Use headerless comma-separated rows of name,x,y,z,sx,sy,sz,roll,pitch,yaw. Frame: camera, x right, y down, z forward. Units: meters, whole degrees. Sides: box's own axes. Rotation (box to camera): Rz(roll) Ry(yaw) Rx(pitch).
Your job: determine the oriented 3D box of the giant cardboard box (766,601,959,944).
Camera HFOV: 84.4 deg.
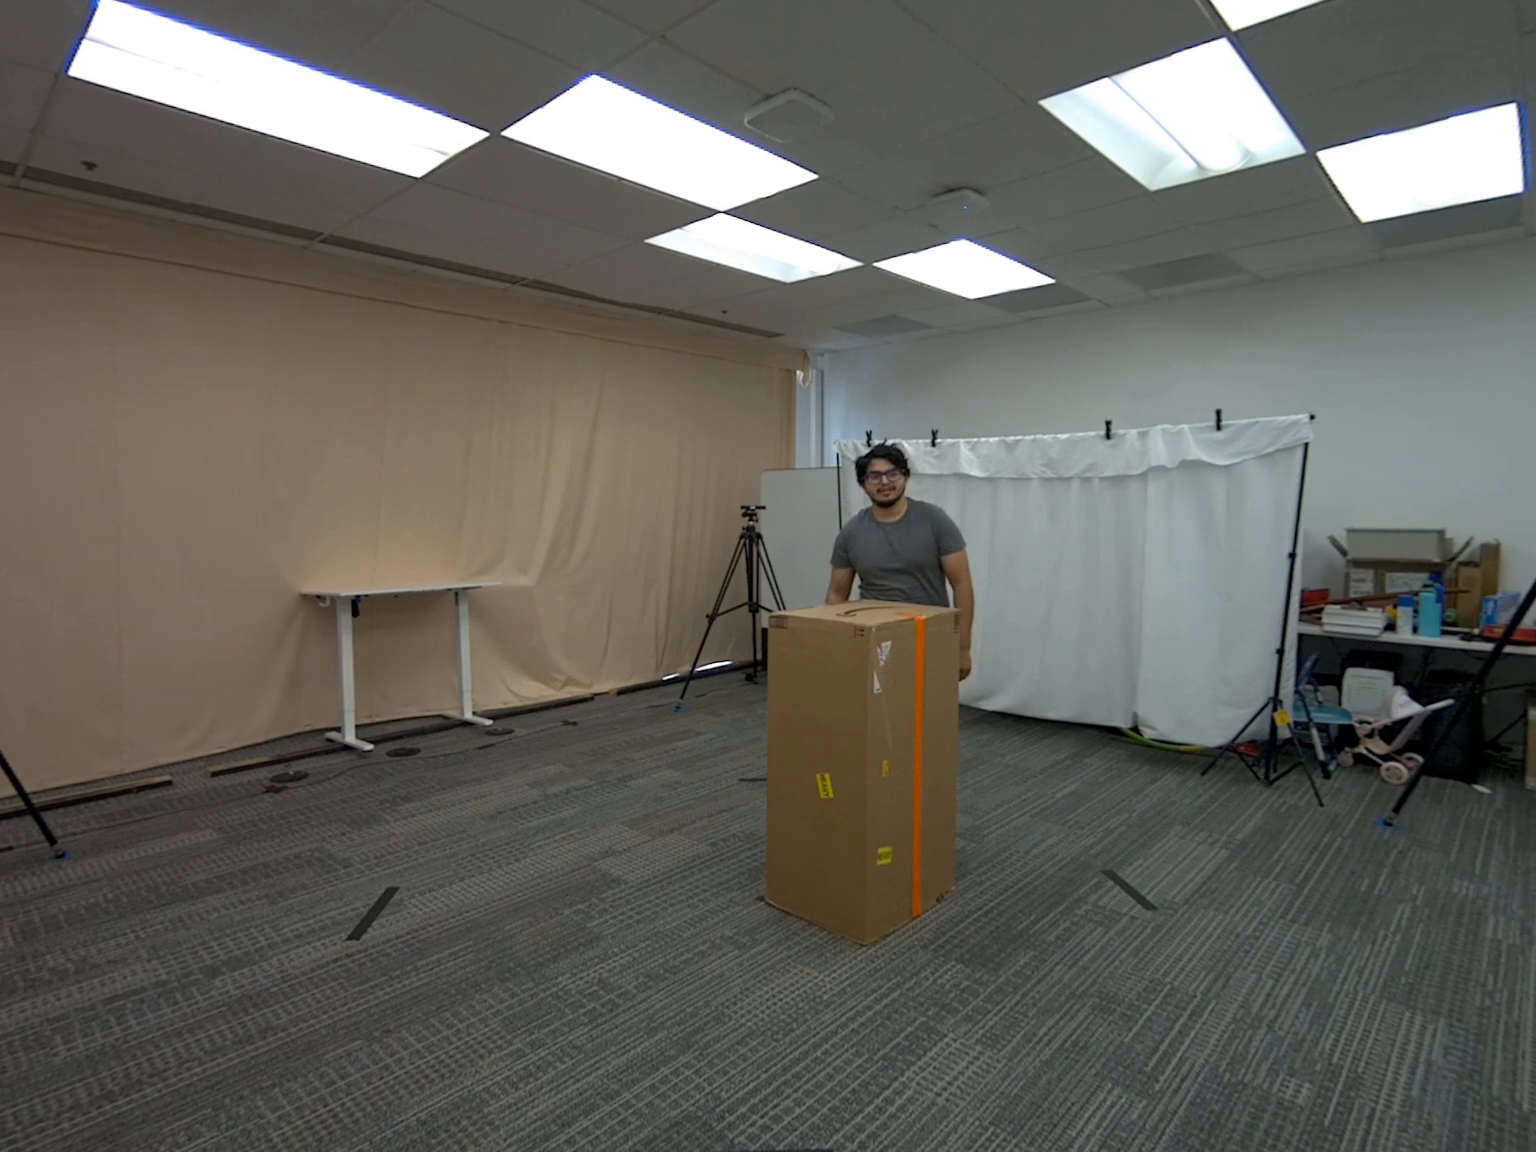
giant cardboard box,0.342,0.639,2.971,0.461,1.025,0.566,2,4,42
